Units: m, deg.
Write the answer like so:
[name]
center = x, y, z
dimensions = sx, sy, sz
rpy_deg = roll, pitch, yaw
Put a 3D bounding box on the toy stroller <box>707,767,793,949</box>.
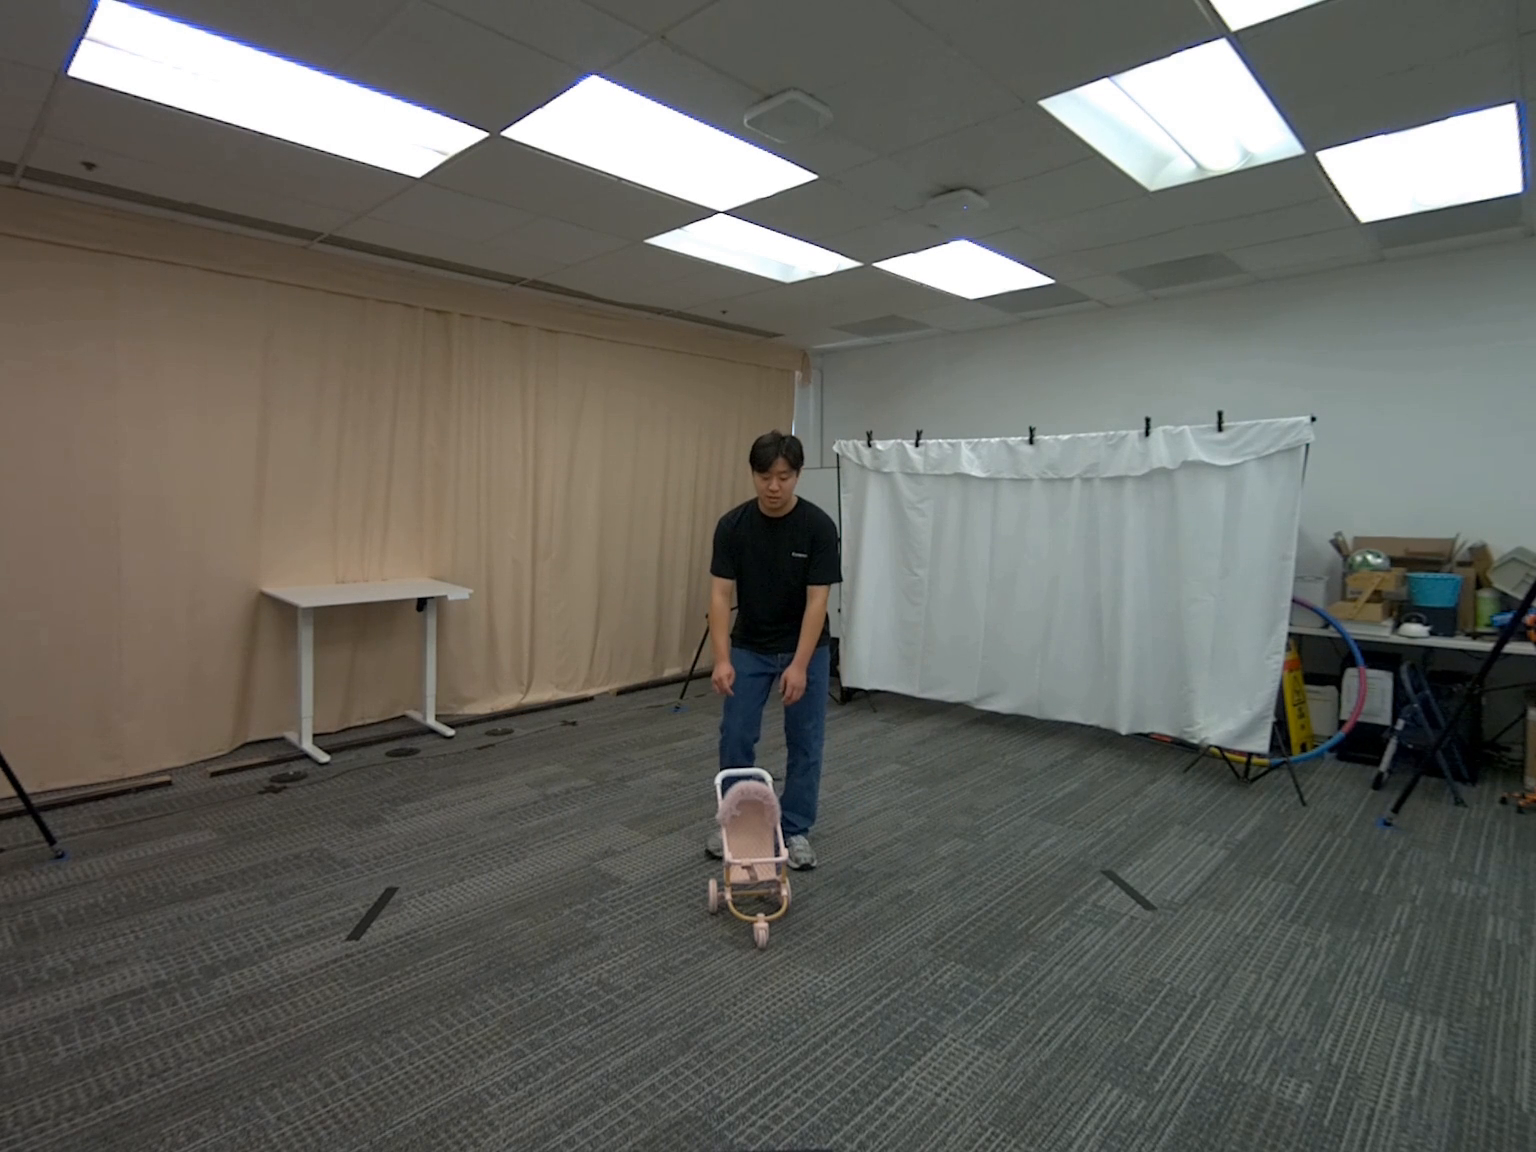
[toy stroller]
center = -0.048, 0.937, 2.821
dimensions = 0.279, 0.539, 0.341
rpy_deg = -1, -10, -7
